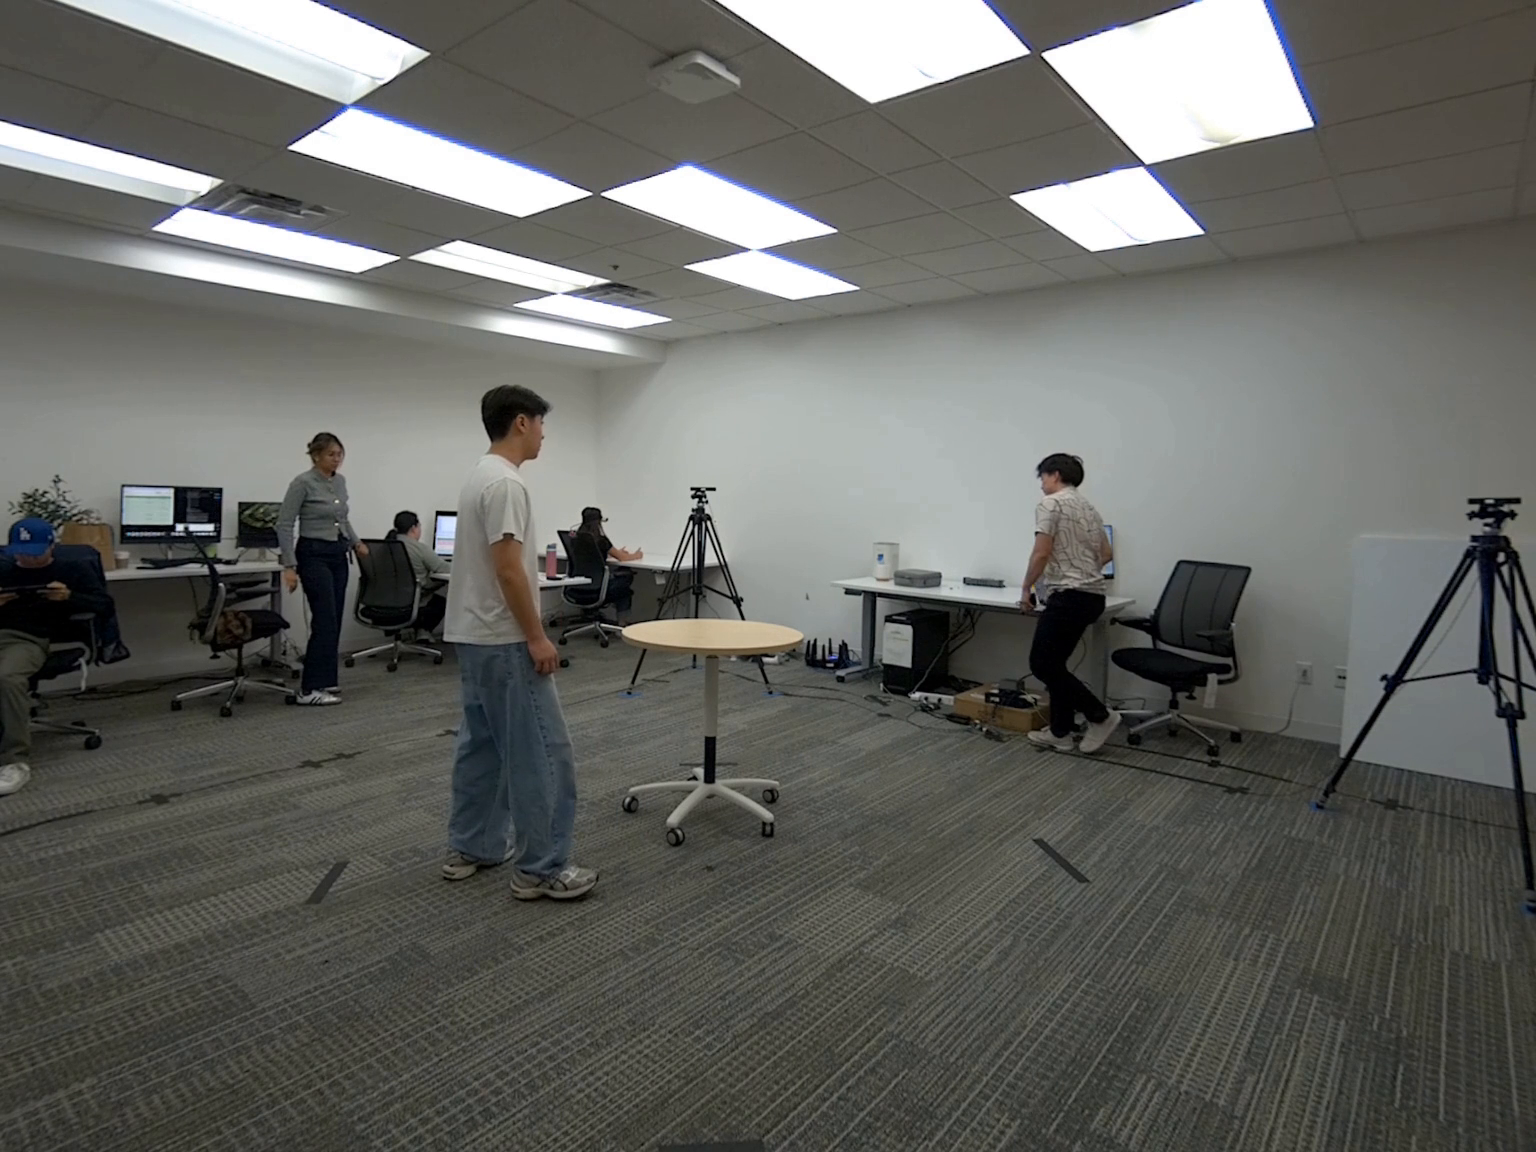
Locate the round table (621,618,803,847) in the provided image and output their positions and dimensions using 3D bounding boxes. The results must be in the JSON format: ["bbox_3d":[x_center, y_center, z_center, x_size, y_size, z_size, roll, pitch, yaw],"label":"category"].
[{"bbox_3d":[-0.240,0.624,3.611,0.784,0.784,0.789,1,4,-2],"label":"round table"}]
